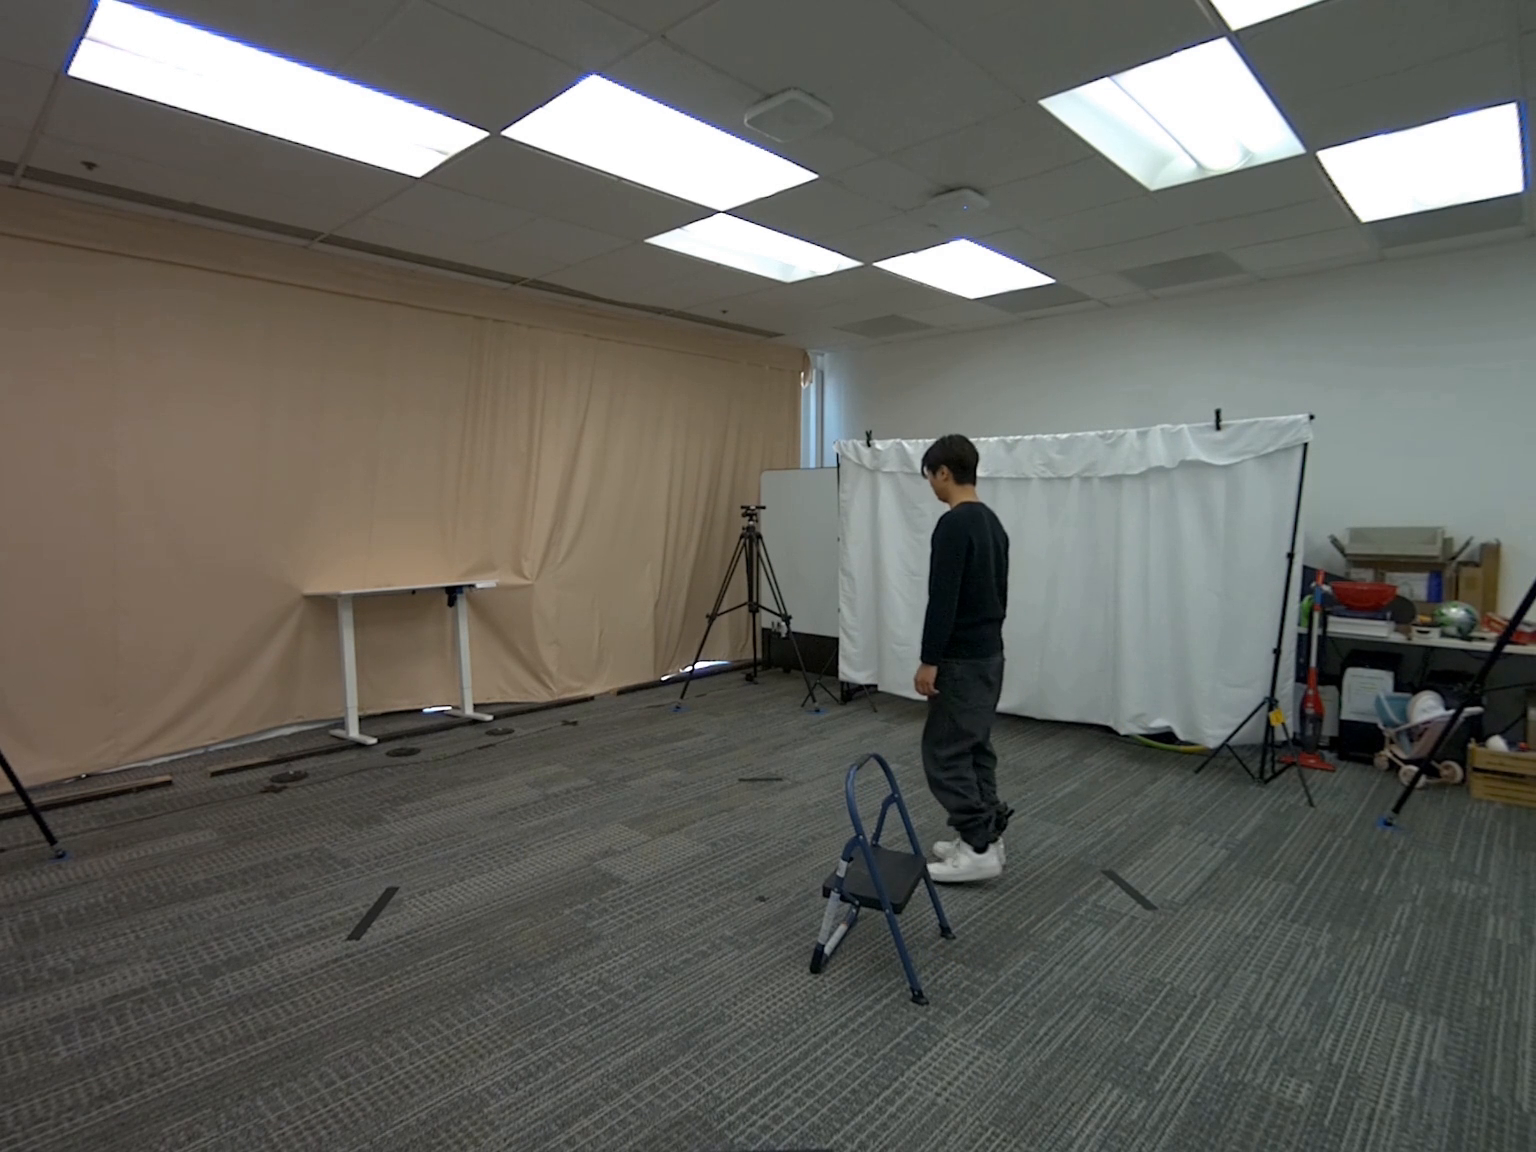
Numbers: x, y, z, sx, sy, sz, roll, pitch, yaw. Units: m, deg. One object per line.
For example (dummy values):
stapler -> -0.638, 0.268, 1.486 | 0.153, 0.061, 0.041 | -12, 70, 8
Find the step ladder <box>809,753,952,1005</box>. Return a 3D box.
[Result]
step ladder -> 0.368, 0.873, 2.595 | 0.358, 0.605, 0.421 | 2, 4, 24
